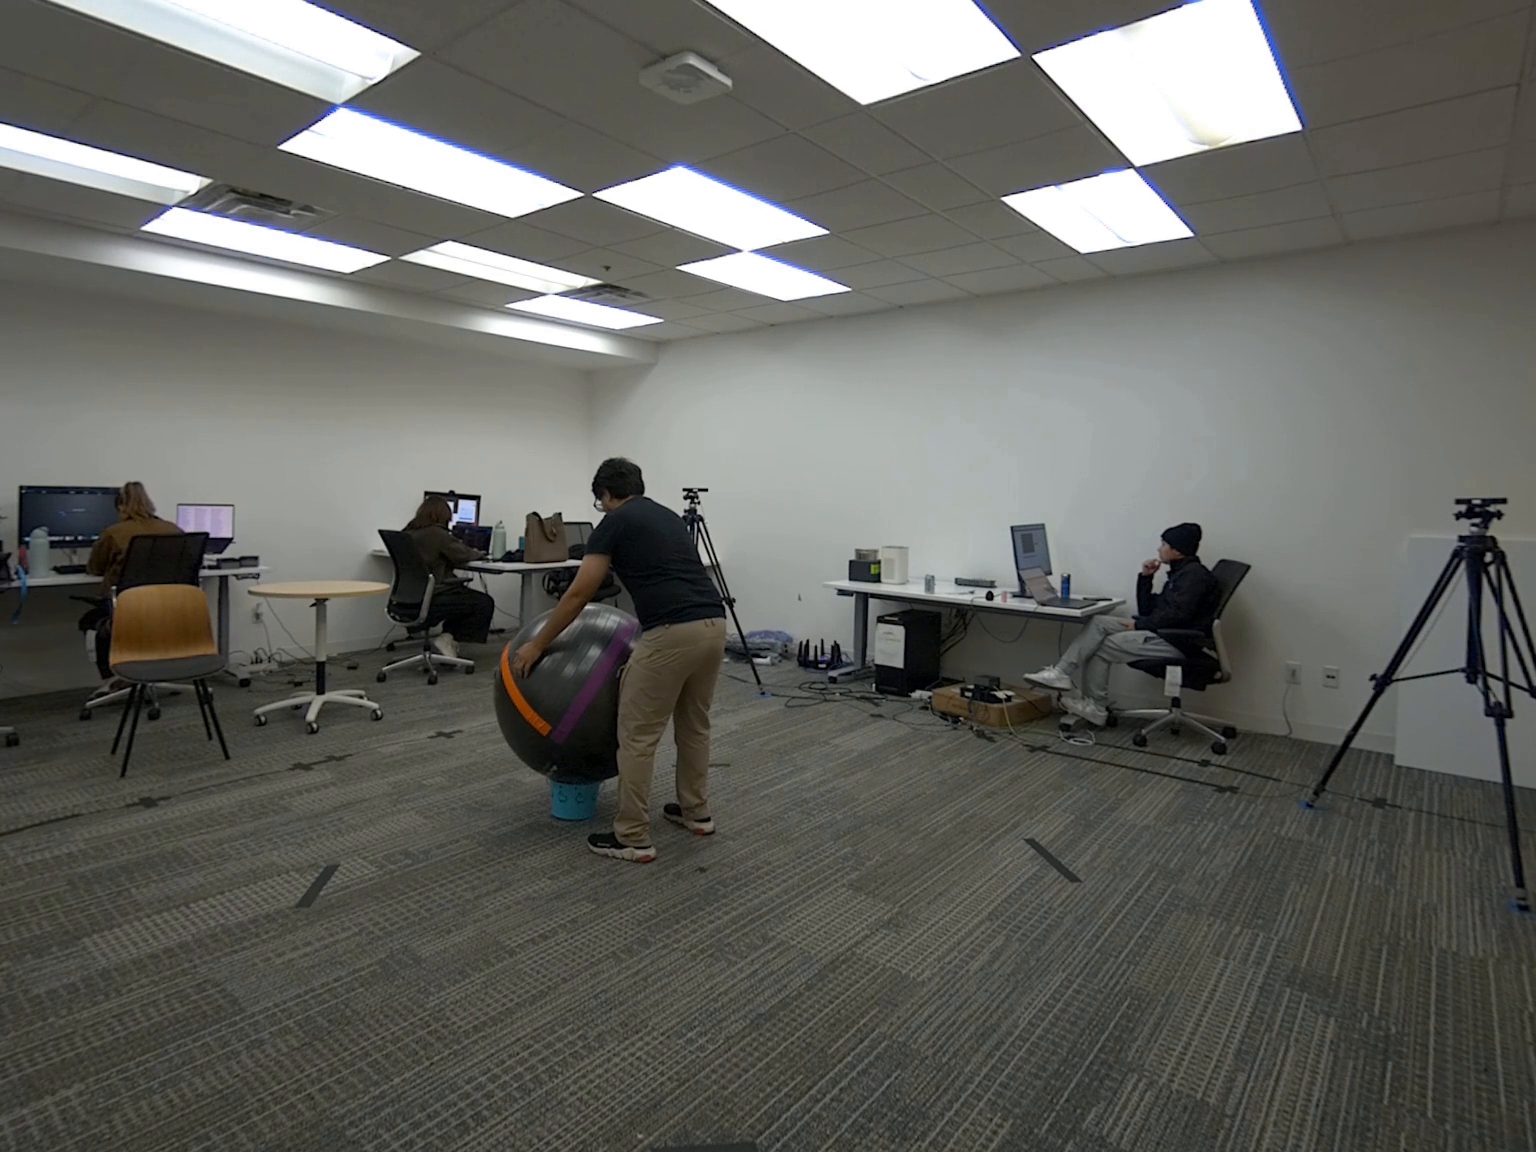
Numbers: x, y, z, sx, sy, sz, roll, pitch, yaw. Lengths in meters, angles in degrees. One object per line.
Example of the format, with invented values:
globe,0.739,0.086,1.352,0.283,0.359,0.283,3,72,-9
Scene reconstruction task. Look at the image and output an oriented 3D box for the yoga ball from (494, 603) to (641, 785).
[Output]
yoga ball,-0.793,0.499,3.639,0.757,0.755,0.762,1,4,-2
